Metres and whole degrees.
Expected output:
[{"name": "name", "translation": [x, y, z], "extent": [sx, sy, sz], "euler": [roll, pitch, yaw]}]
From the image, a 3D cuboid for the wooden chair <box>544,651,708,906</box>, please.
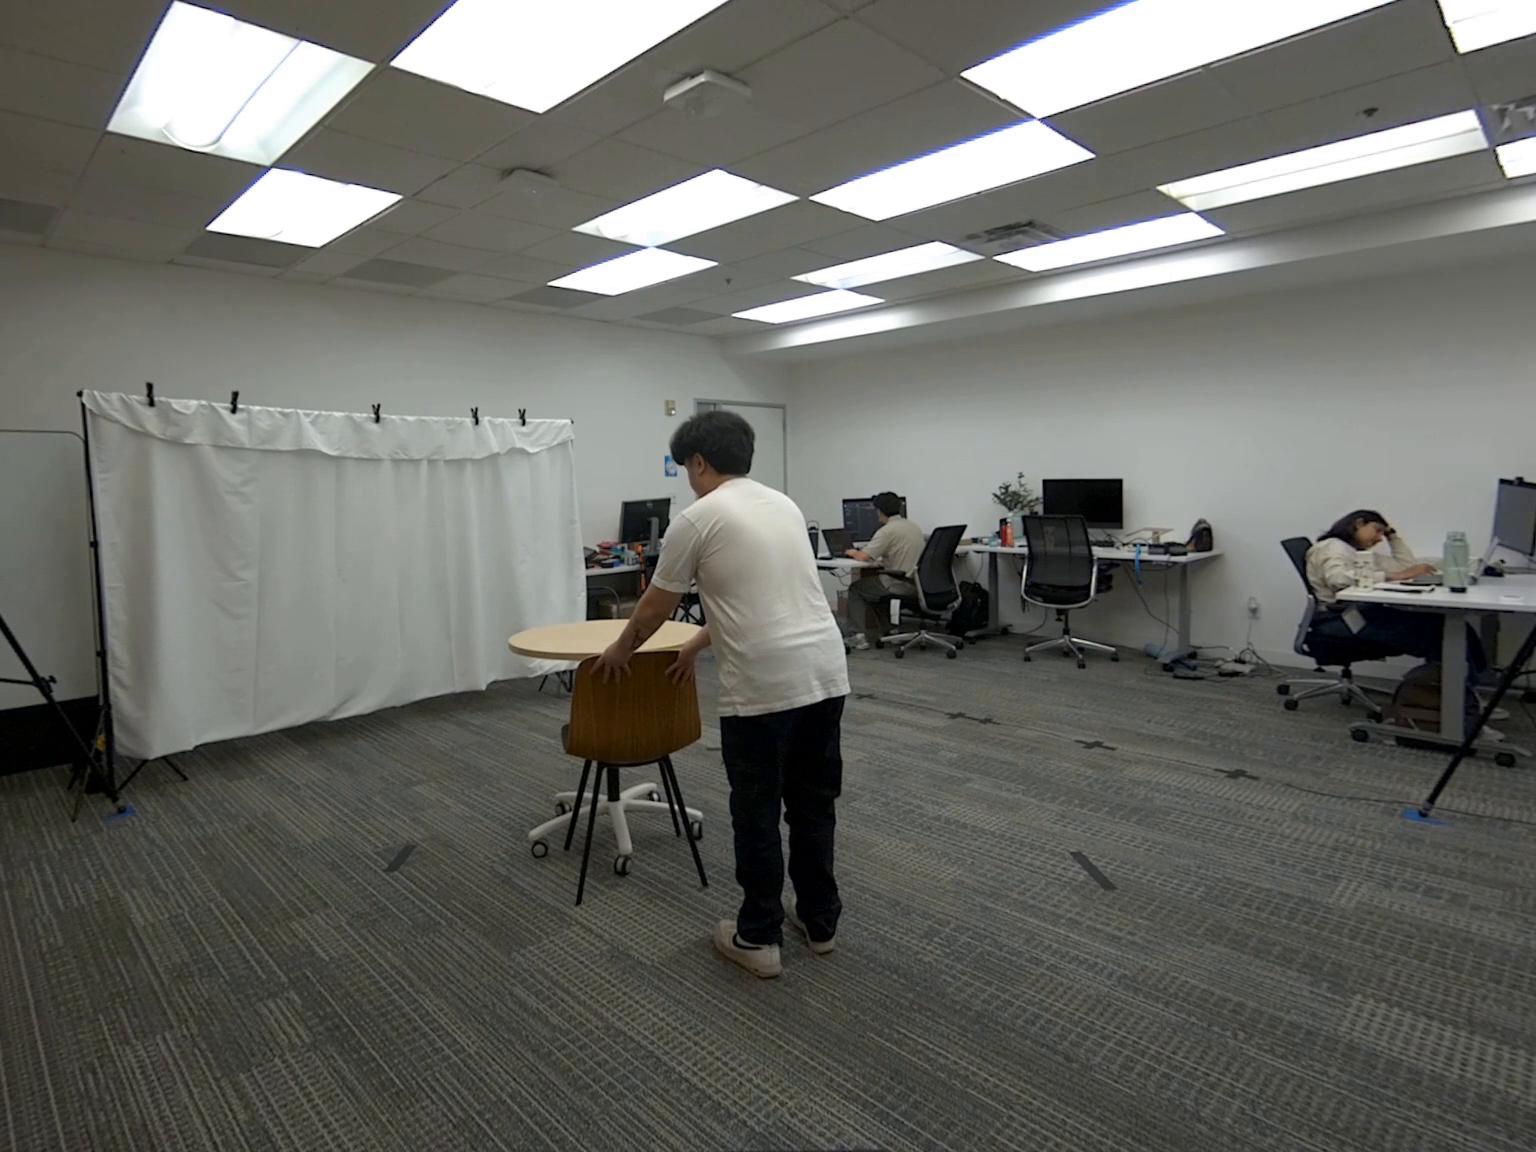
[{"name": "wooden chair", "translation": [-0.490, 0.626, 3.061], "extent": [0.471, 0.871, 0.535], "euler": [-3, 9, -17]}]
